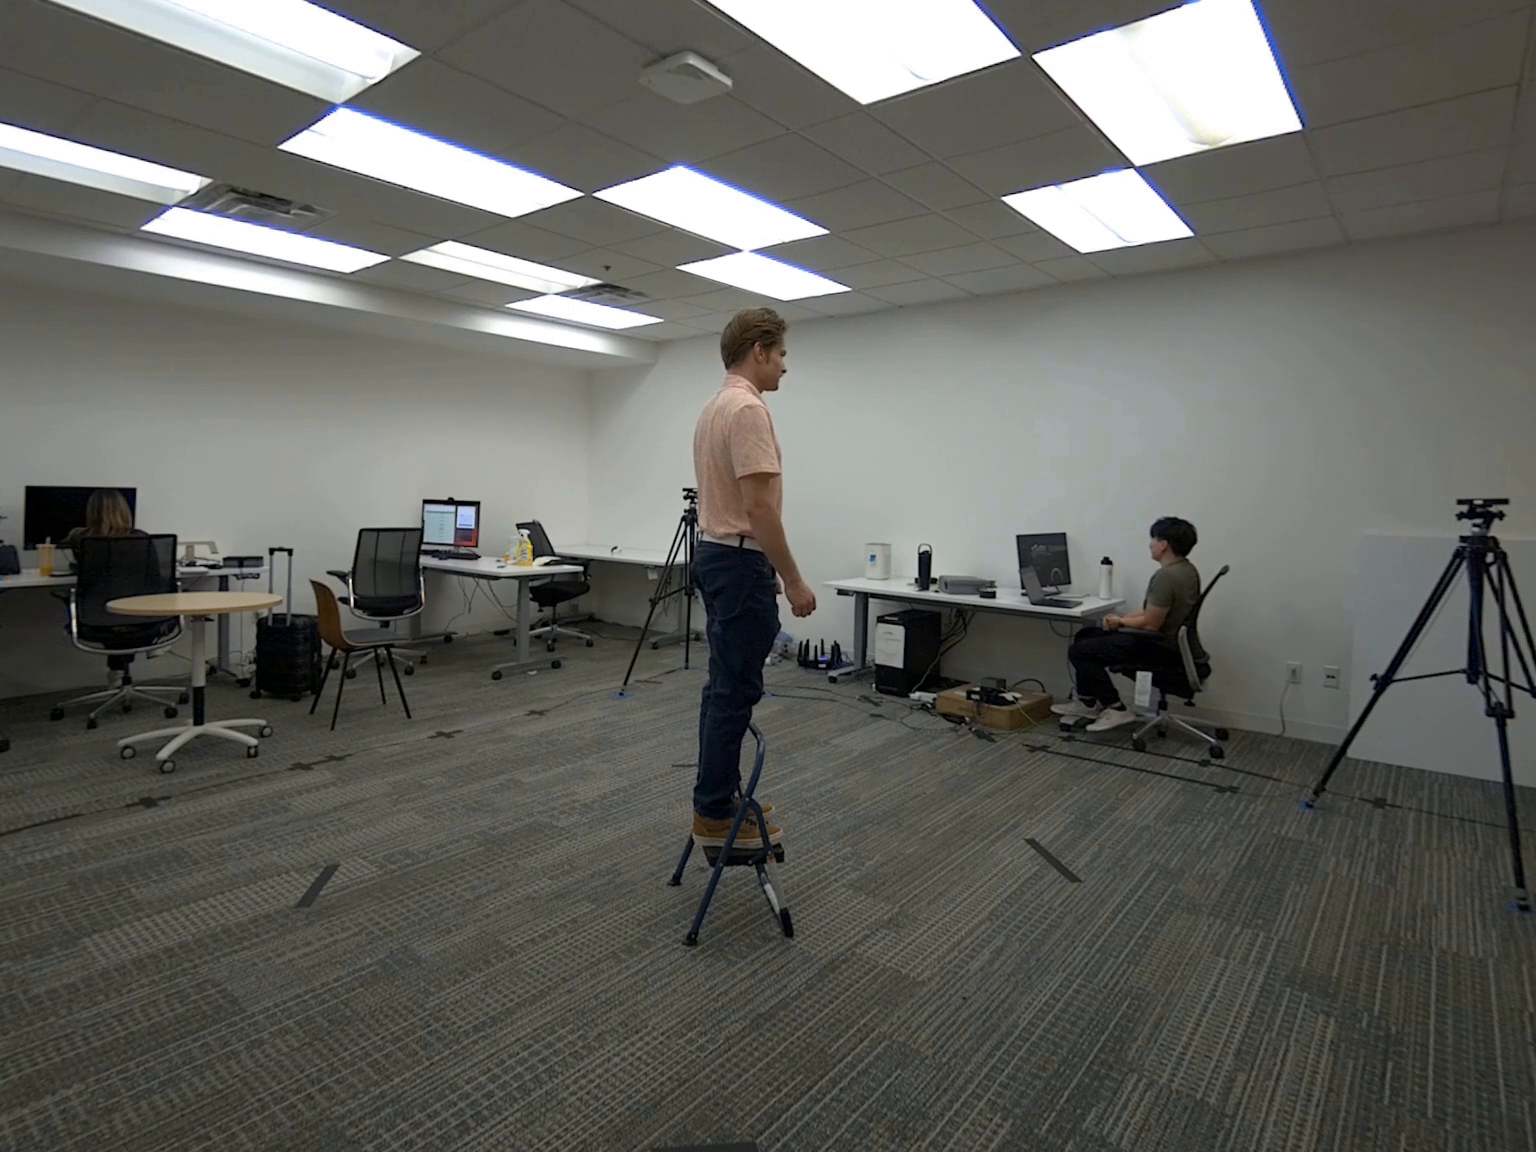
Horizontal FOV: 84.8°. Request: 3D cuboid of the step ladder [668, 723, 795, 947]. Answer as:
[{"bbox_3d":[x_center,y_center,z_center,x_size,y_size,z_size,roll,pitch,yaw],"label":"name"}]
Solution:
[{"bbox_3d":[-0.129,0.803,2.802,0.345,0.604,0.438,0,4,-13],"label":"step ladder"}]
